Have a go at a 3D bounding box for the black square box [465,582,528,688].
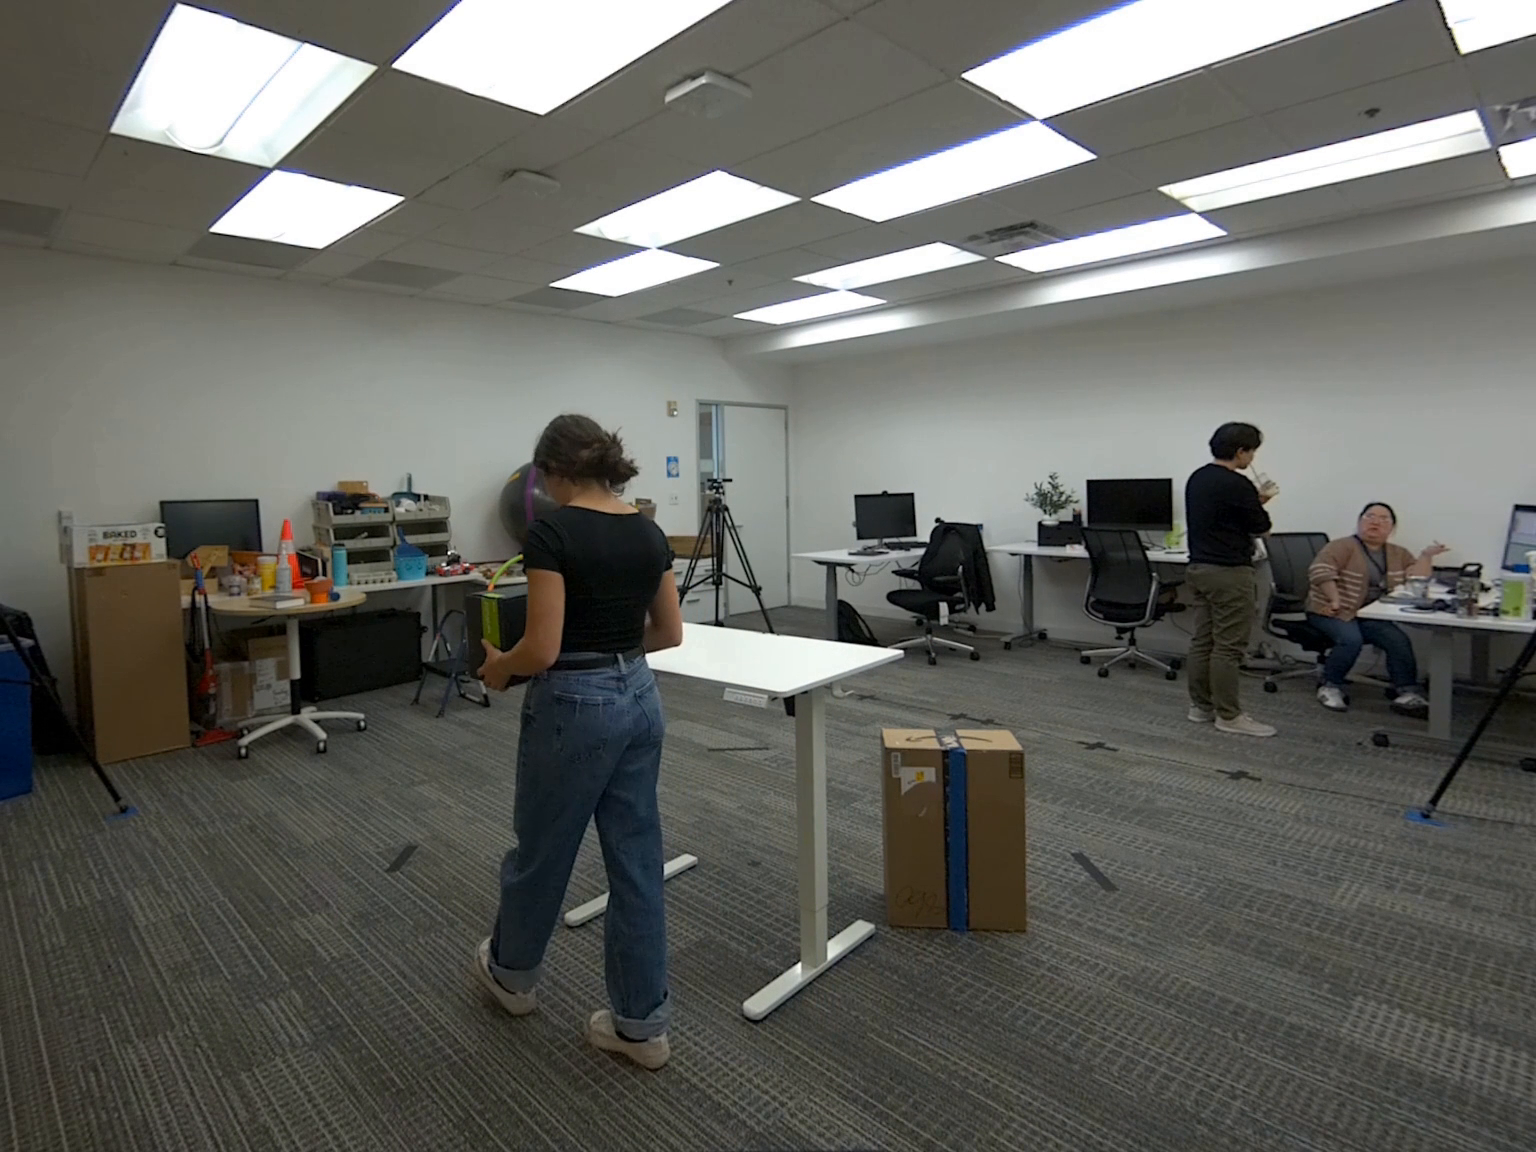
[{"bbox_3d":[-0.651,0.144,2.244,0.160,0.226,0.212,3,9,38],"label":"black square box"}]
